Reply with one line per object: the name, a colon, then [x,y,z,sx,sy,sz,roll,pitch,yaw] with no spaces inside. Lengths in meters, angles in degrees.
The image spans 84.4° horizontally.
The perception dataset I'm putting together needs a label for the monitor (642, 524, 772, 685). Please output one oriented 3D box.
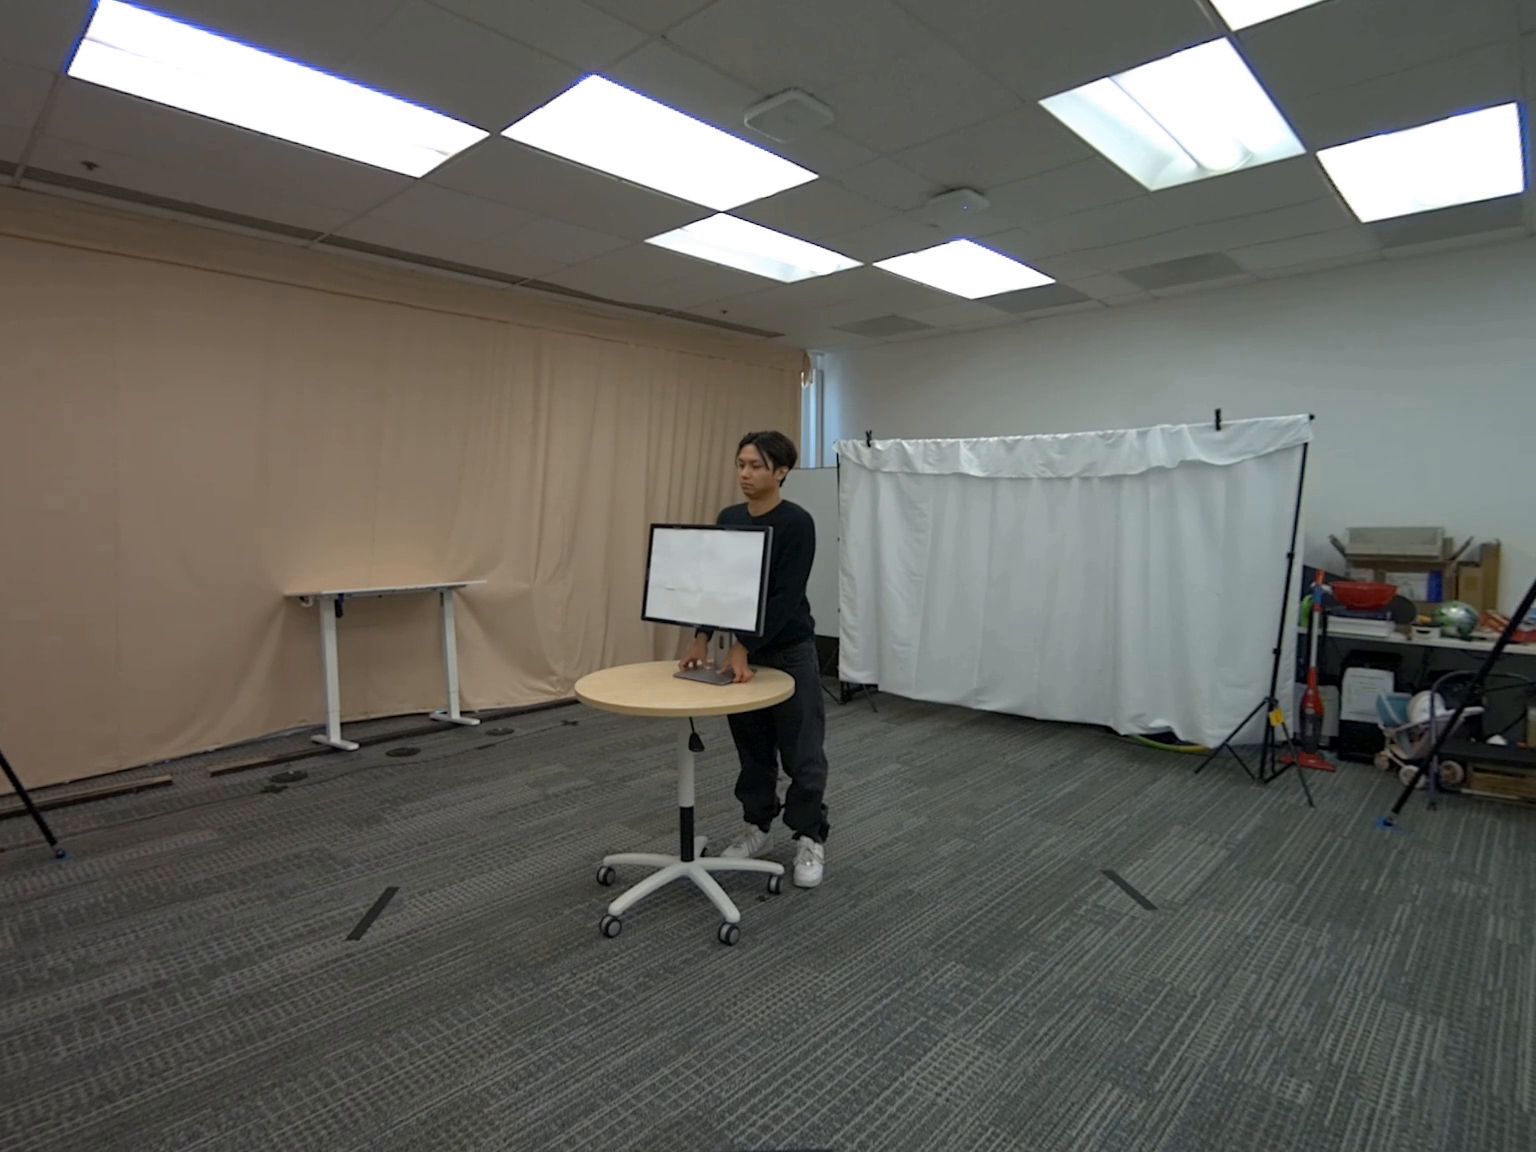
monitor: [-0.198,0.091,2.996,0.557,0.520,0.182,3,8,39]
